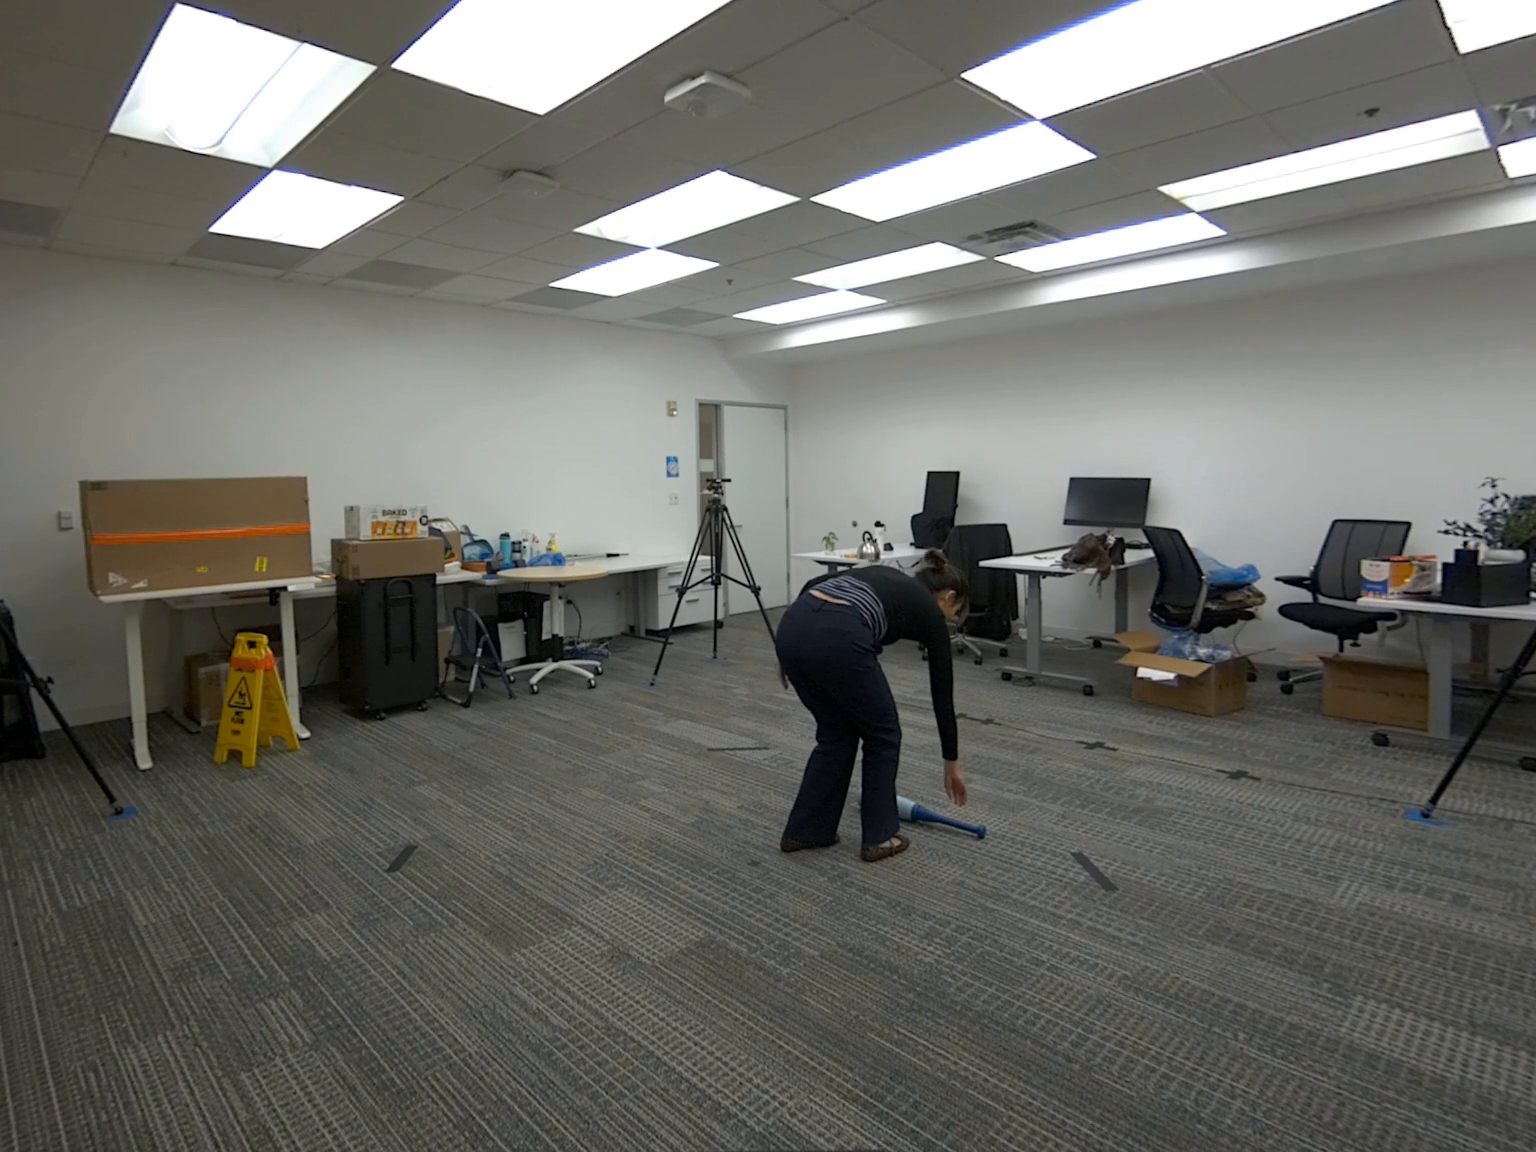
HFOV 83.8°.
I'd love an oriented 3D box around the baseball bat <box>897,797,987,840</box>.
[{"bbox_3d":[0.613,0.956,3.444,0.560,0.088,0.087,7,9,37],"label":"baseball bat"}]
